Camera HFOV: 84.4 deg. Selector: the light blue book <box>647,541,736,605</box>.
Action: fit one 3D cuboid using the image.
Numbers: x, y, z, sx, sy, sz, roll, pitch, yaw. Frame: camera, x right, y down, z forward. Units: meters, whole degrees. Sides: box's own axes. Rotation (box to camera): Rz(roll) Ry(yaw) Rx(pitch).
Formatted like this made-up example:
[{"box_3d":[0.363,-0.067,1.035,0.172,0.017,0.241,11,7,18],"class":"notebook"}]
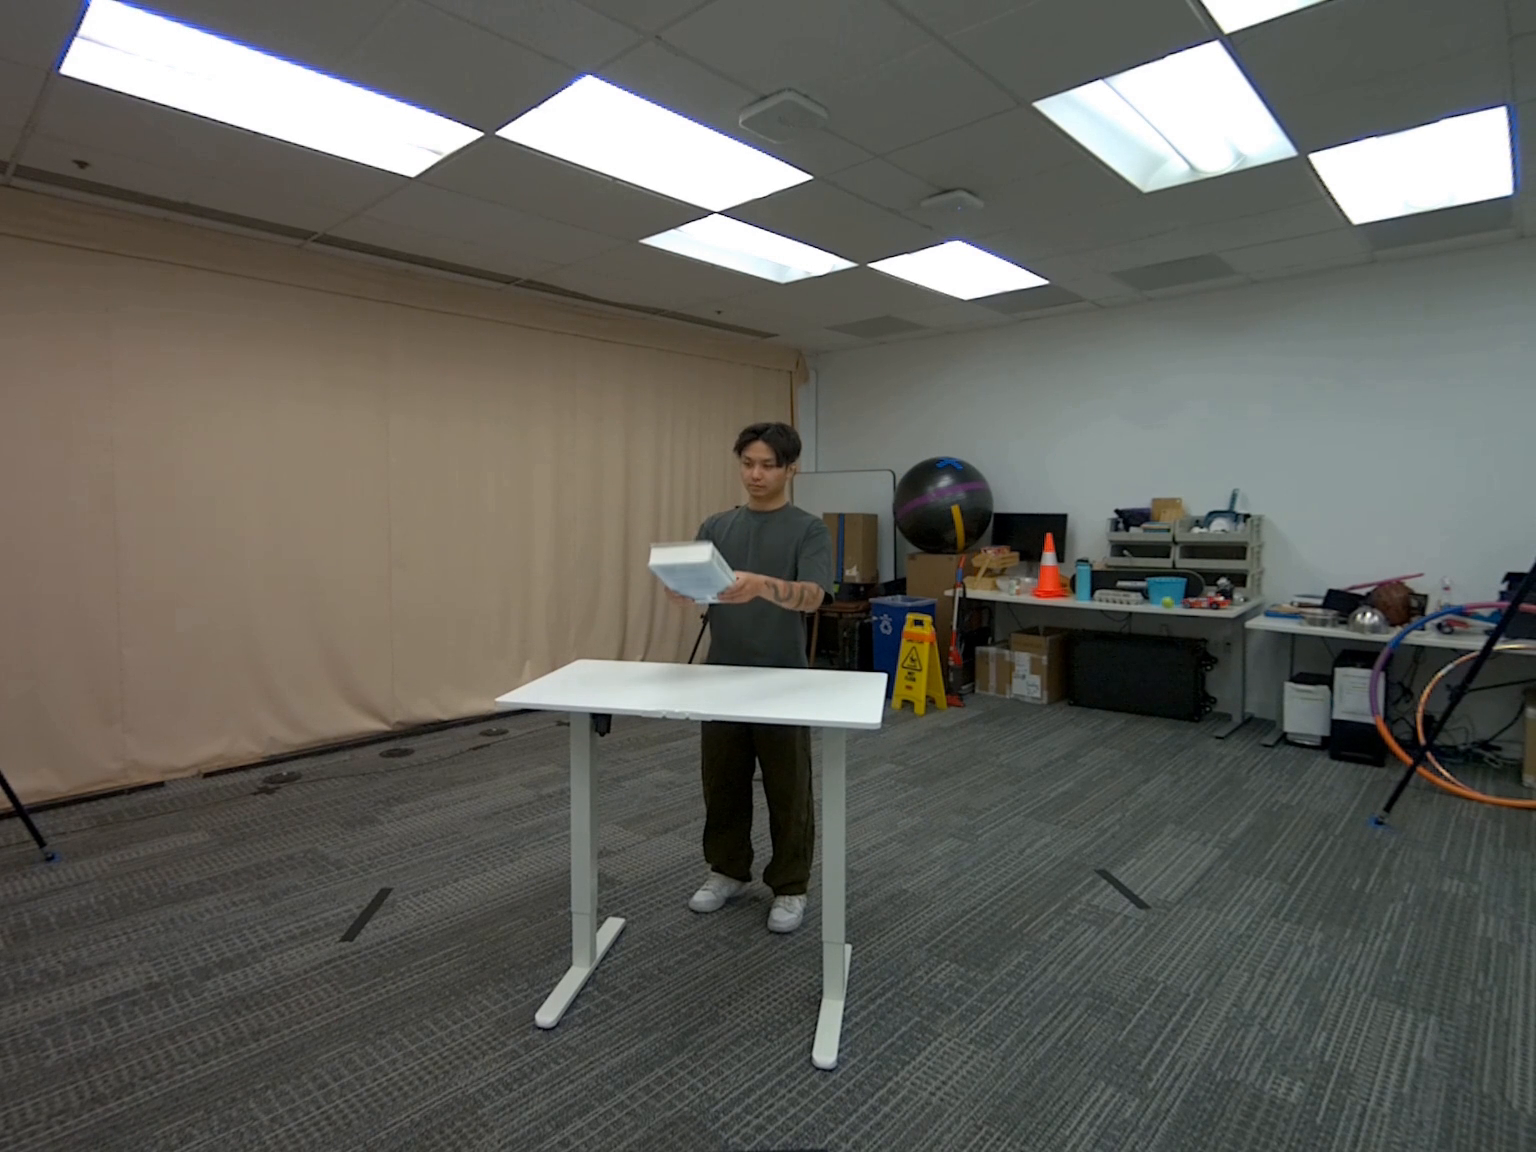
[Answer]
[{"box_3d":[-0.206,-0.011,2.382,0.195,0.059,0.253,-1,-26,20],"class":"light blue book"}]
